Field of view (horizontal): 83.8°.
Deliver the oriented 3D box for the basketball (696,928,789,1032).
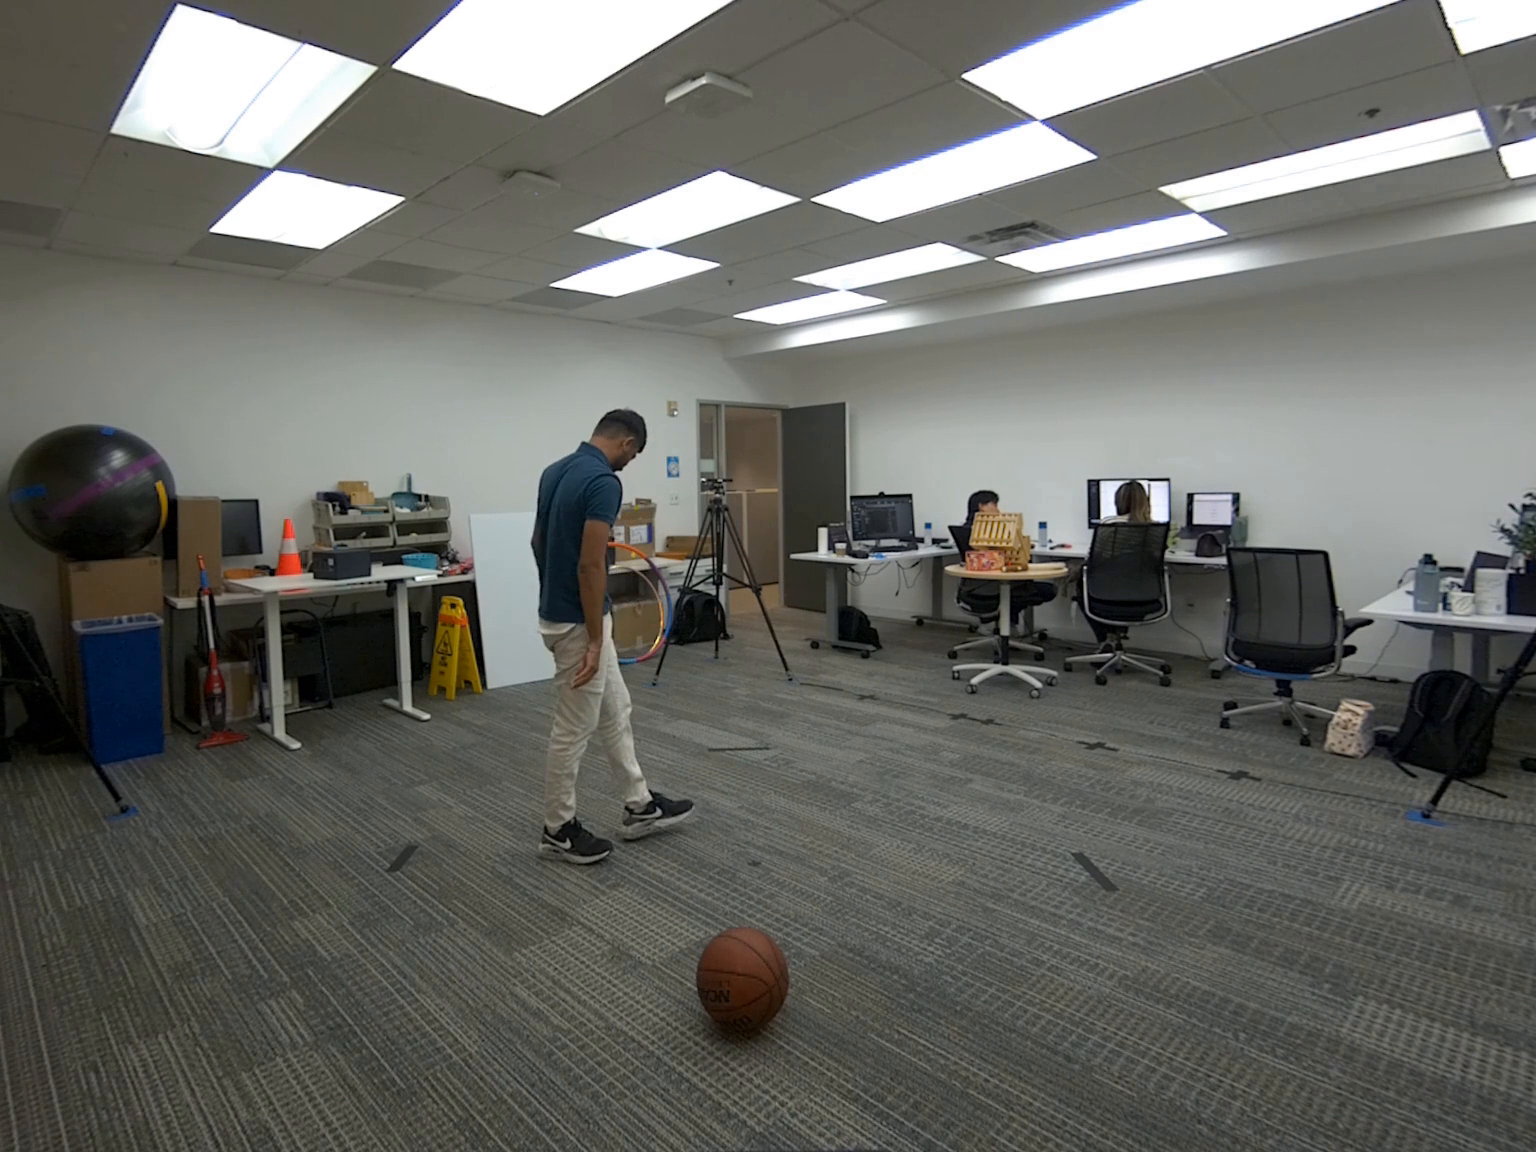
[{"bbox_3d":[-0.053,1.033,2.194,0.236,0.235,0.237,-1,5,-2],"label":"basketball"}]
